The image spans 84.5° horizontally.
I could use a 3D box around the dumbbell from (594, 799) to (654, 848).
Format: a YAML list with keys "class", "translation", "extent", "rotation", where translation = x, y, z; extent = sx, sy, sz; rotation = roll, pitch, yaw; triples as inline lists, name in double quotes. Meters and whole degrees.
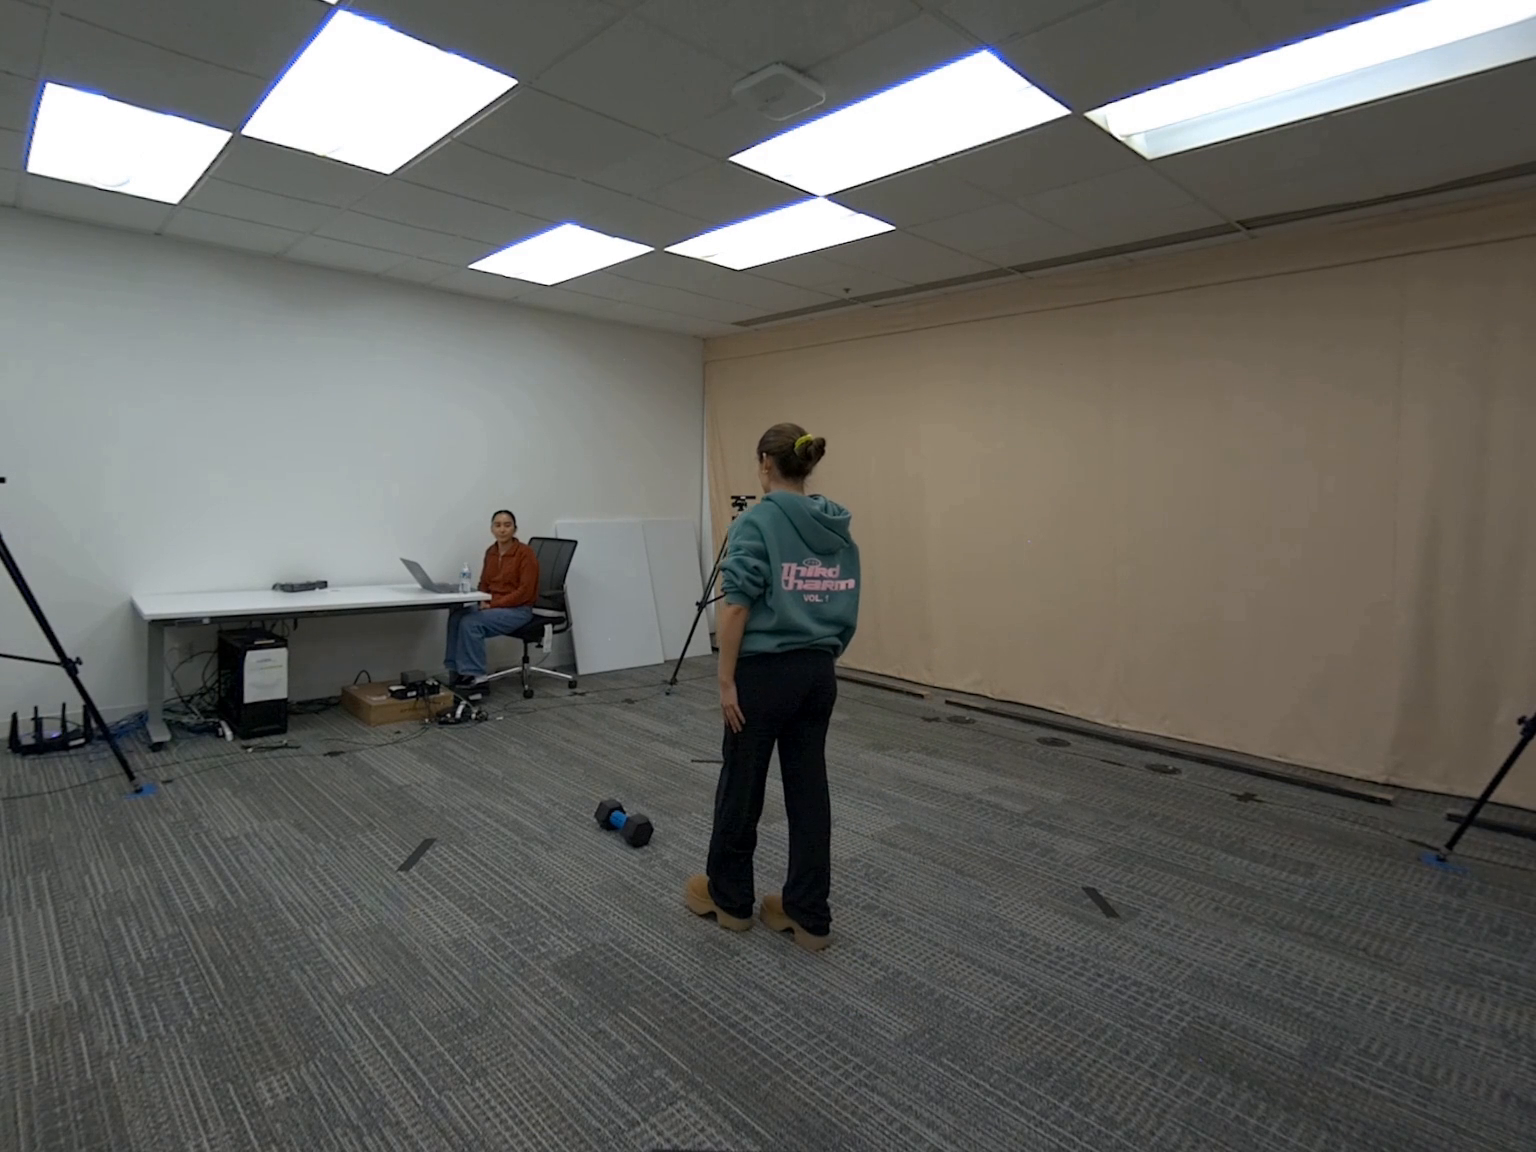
- class: "dumbbell"
  translation: [-0.600, 1.008, 3.440]
  extent: [0.108, 0.120, 0.301]
  rotation: [-36, 26, -32]
